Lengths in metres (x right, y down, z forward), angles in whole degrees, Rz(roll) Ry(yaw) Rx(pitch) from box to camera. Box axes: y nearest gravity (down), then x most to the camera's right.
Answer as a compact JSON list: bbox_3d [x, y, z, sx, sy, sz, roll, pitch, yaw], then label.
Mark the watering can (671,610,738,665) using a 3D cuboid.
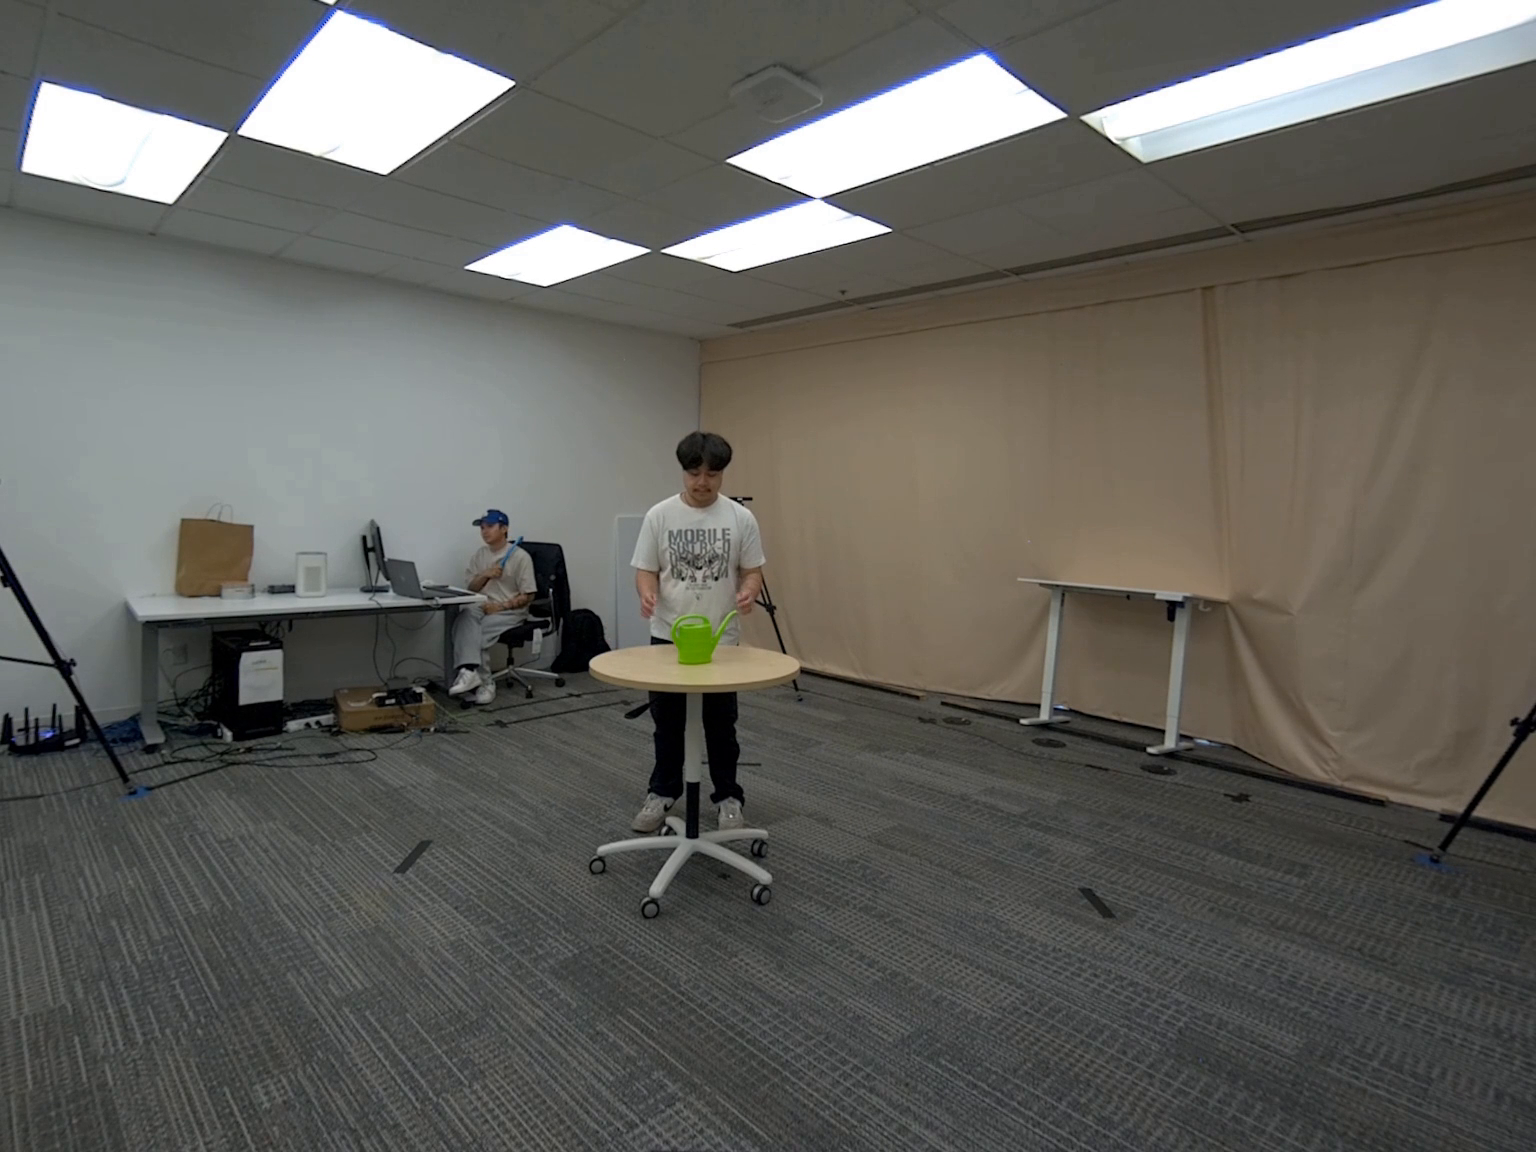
[{"bbox_3d":[-0.247,0.225,3.084,0.274,0.176,0.100,-2,6,-20],"label":"watering can"}]
